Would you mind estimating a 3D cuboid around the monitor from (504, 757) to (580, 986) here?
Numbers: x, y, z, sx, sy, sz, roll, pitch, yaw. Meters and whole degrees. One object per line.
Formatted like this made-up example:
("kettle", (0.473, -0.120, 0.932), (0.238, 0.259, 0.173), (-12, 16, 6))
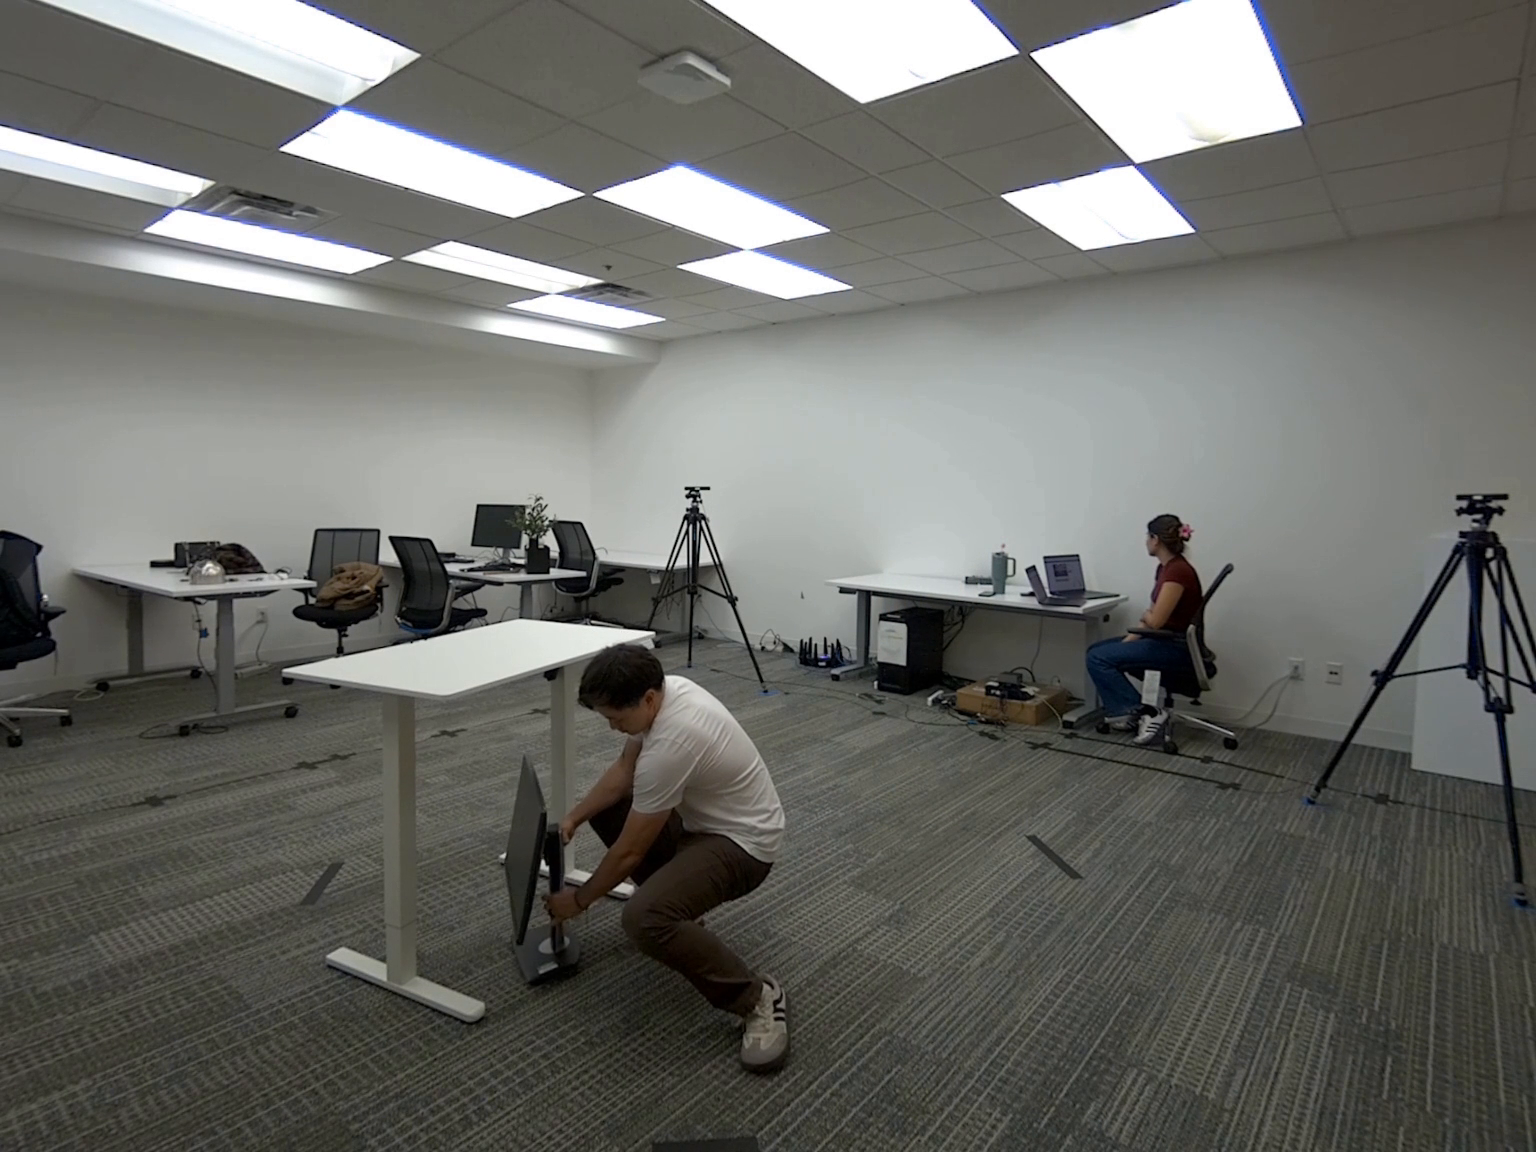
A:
("monitor", (-0.687, 0.854, 2.480), (0.184, 0.520, 0.552), (-7, 6, -22))
